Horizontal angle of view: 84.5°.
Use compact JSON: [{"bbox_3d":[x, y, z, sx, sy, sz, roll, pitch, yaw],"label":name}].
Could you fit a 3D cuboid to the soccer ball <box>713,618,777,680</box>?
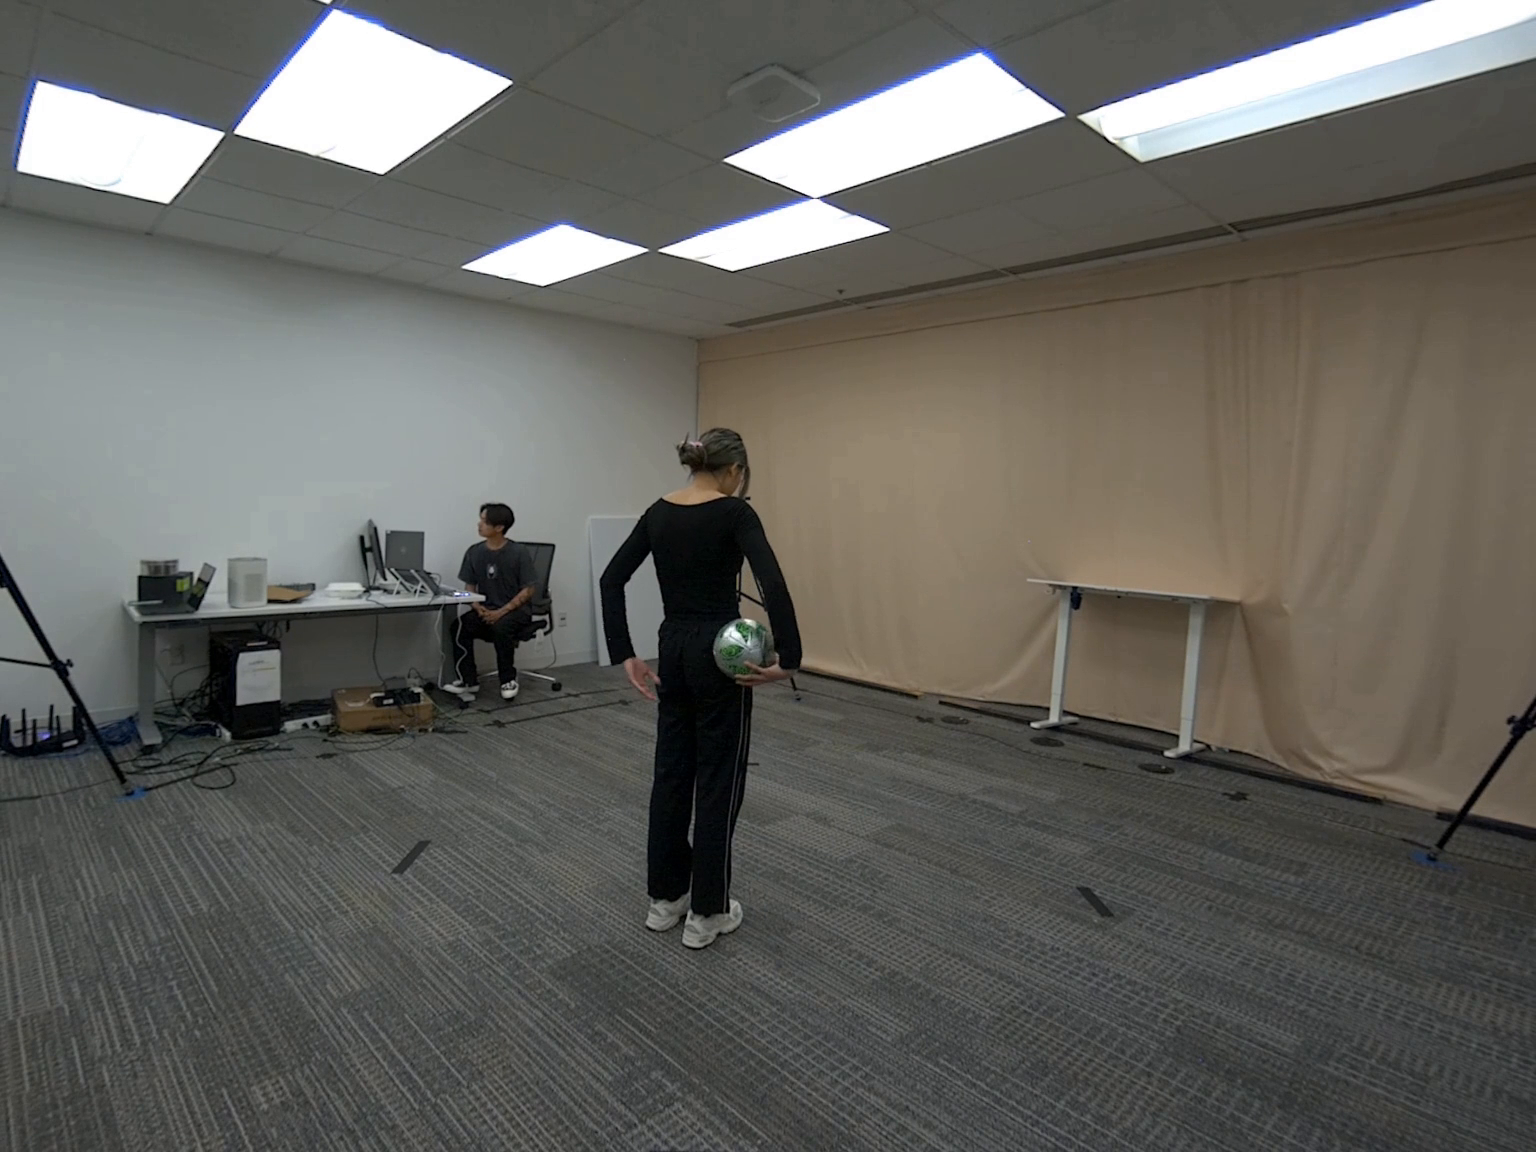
[{"bbox_3d":[-0.076,0.222,2.504,0.187,0.187,0.188,1,4,-1],"label":"soccer ball"}]
